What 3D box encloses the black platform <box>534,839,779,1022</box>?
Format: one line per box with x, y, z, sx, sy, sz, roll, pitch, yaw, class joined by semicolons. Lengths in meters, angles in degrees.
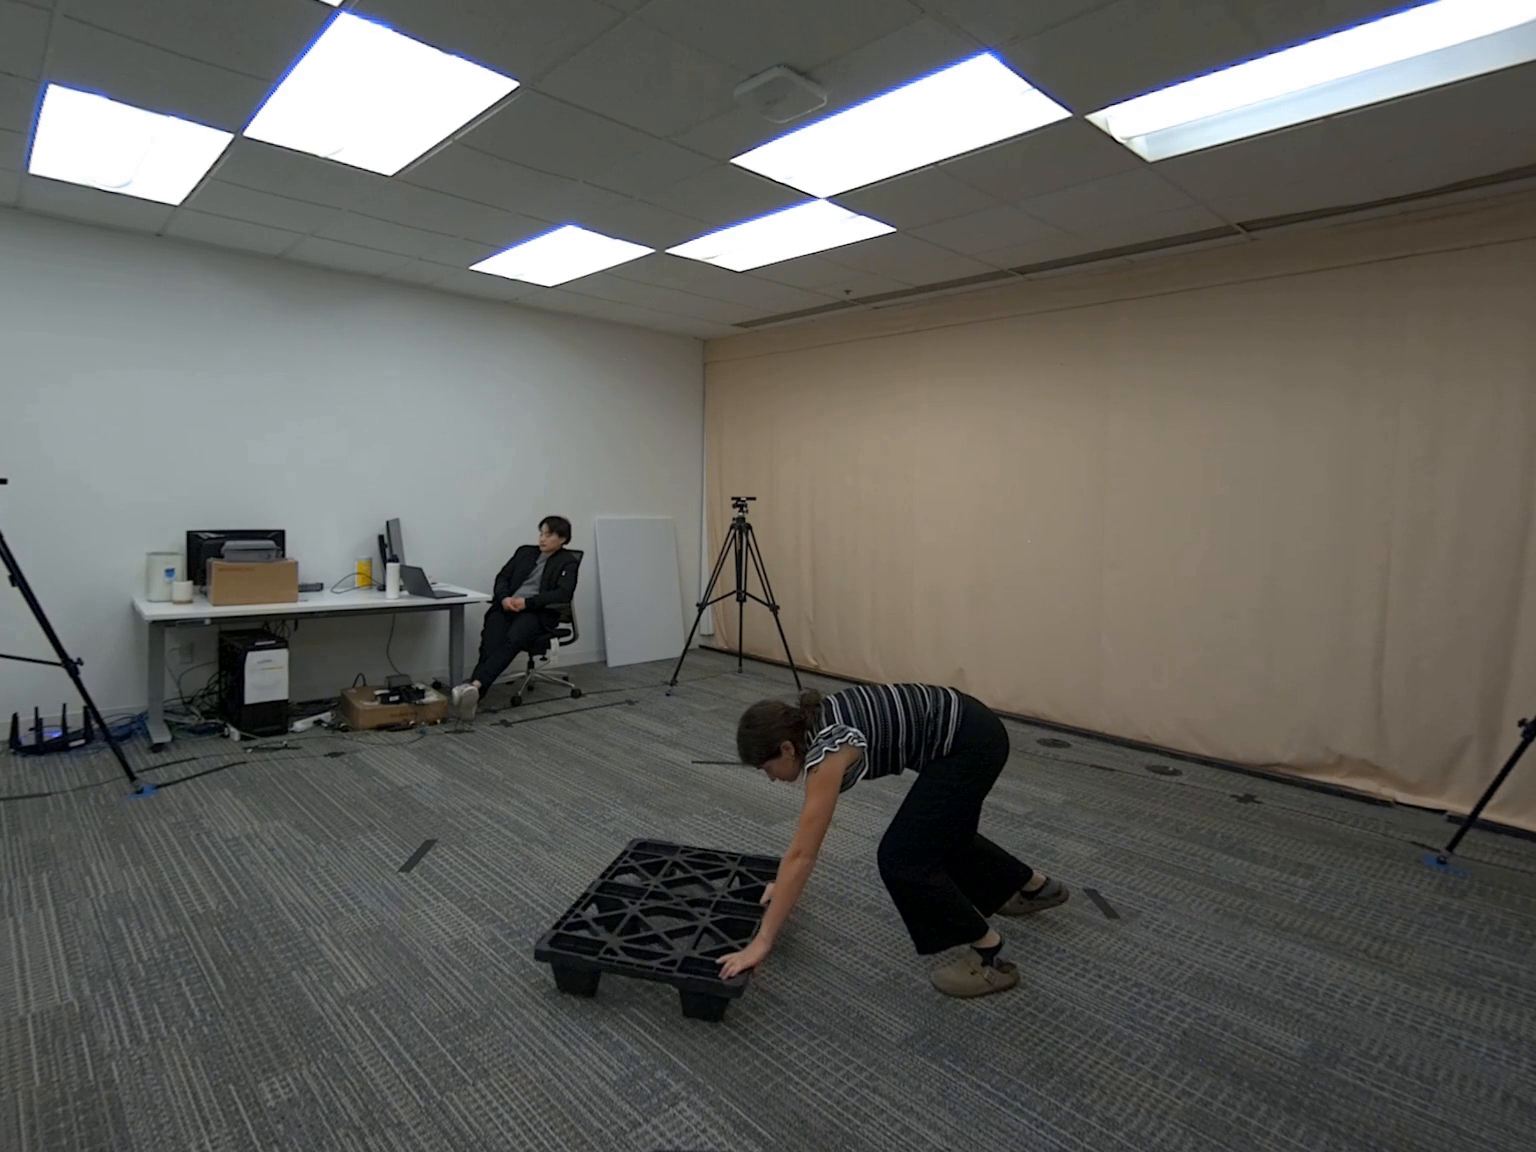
-0.292;1.075;2.639;0.612;0.143;0.799;2;5;12;black platform
